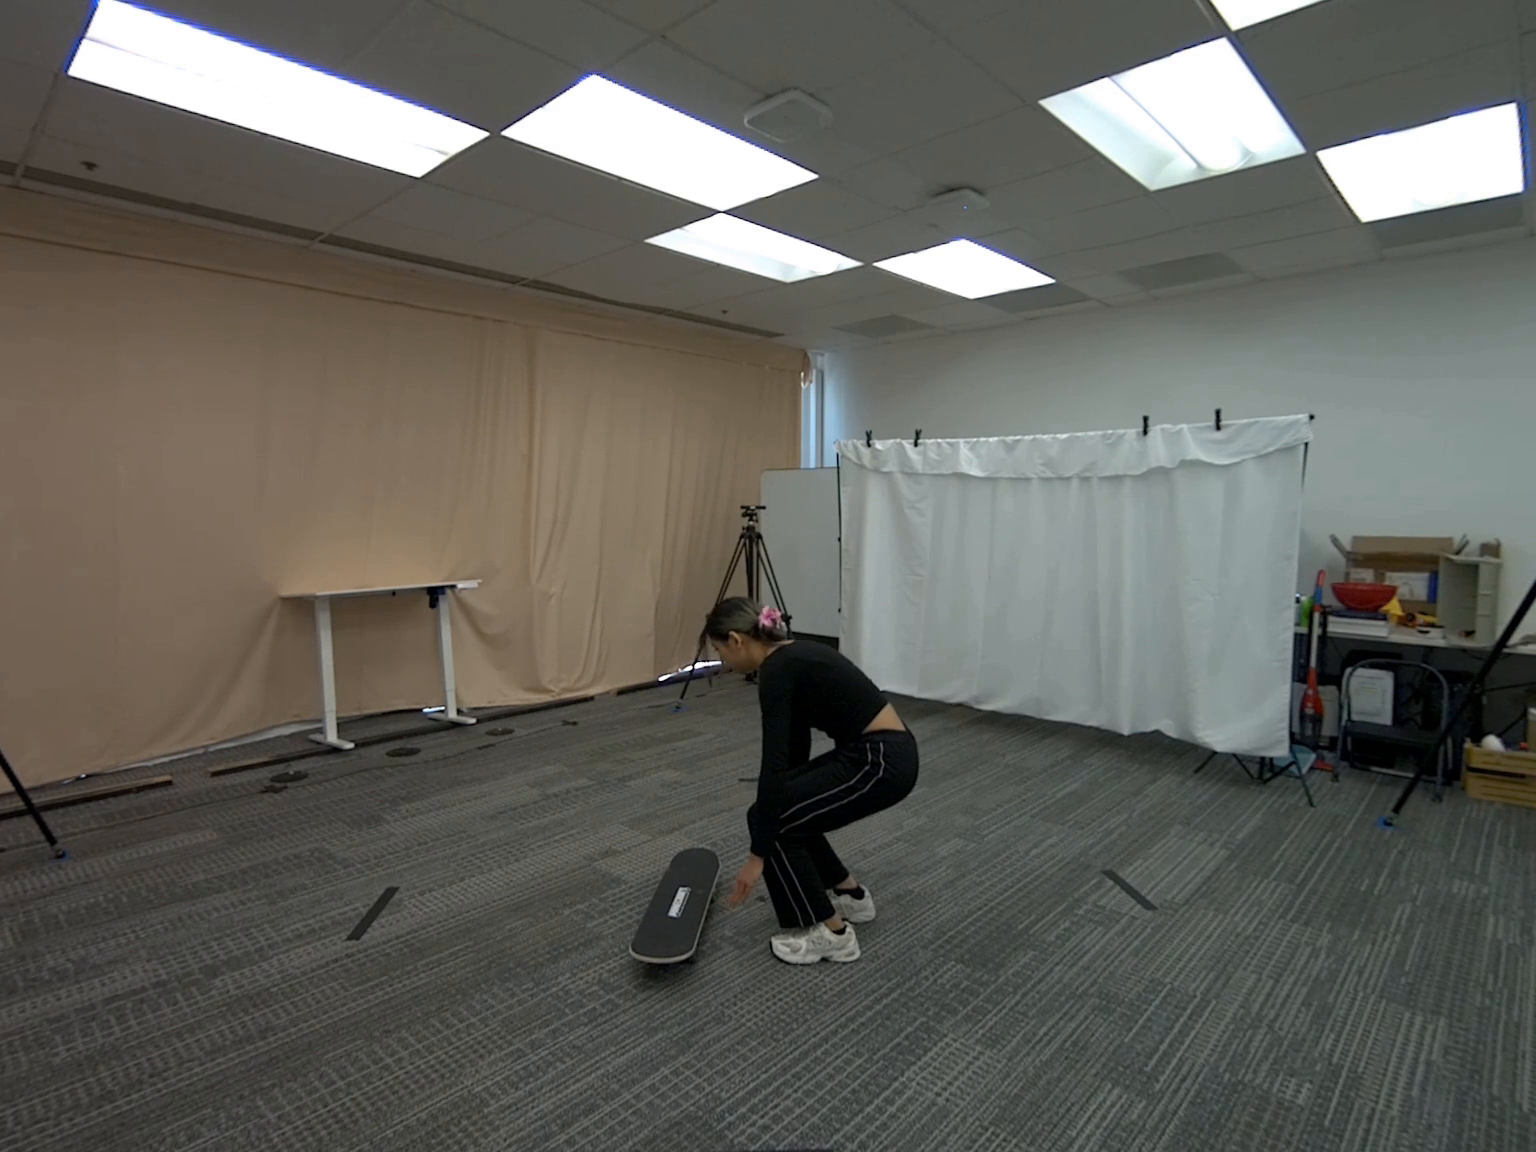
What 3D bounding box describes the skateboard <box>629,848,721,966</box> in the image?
[{"bbox_3d":[-0.286,1.099,2.784,0.195,0.110,0.781,0,4,5],"label":"skateboard"}]
